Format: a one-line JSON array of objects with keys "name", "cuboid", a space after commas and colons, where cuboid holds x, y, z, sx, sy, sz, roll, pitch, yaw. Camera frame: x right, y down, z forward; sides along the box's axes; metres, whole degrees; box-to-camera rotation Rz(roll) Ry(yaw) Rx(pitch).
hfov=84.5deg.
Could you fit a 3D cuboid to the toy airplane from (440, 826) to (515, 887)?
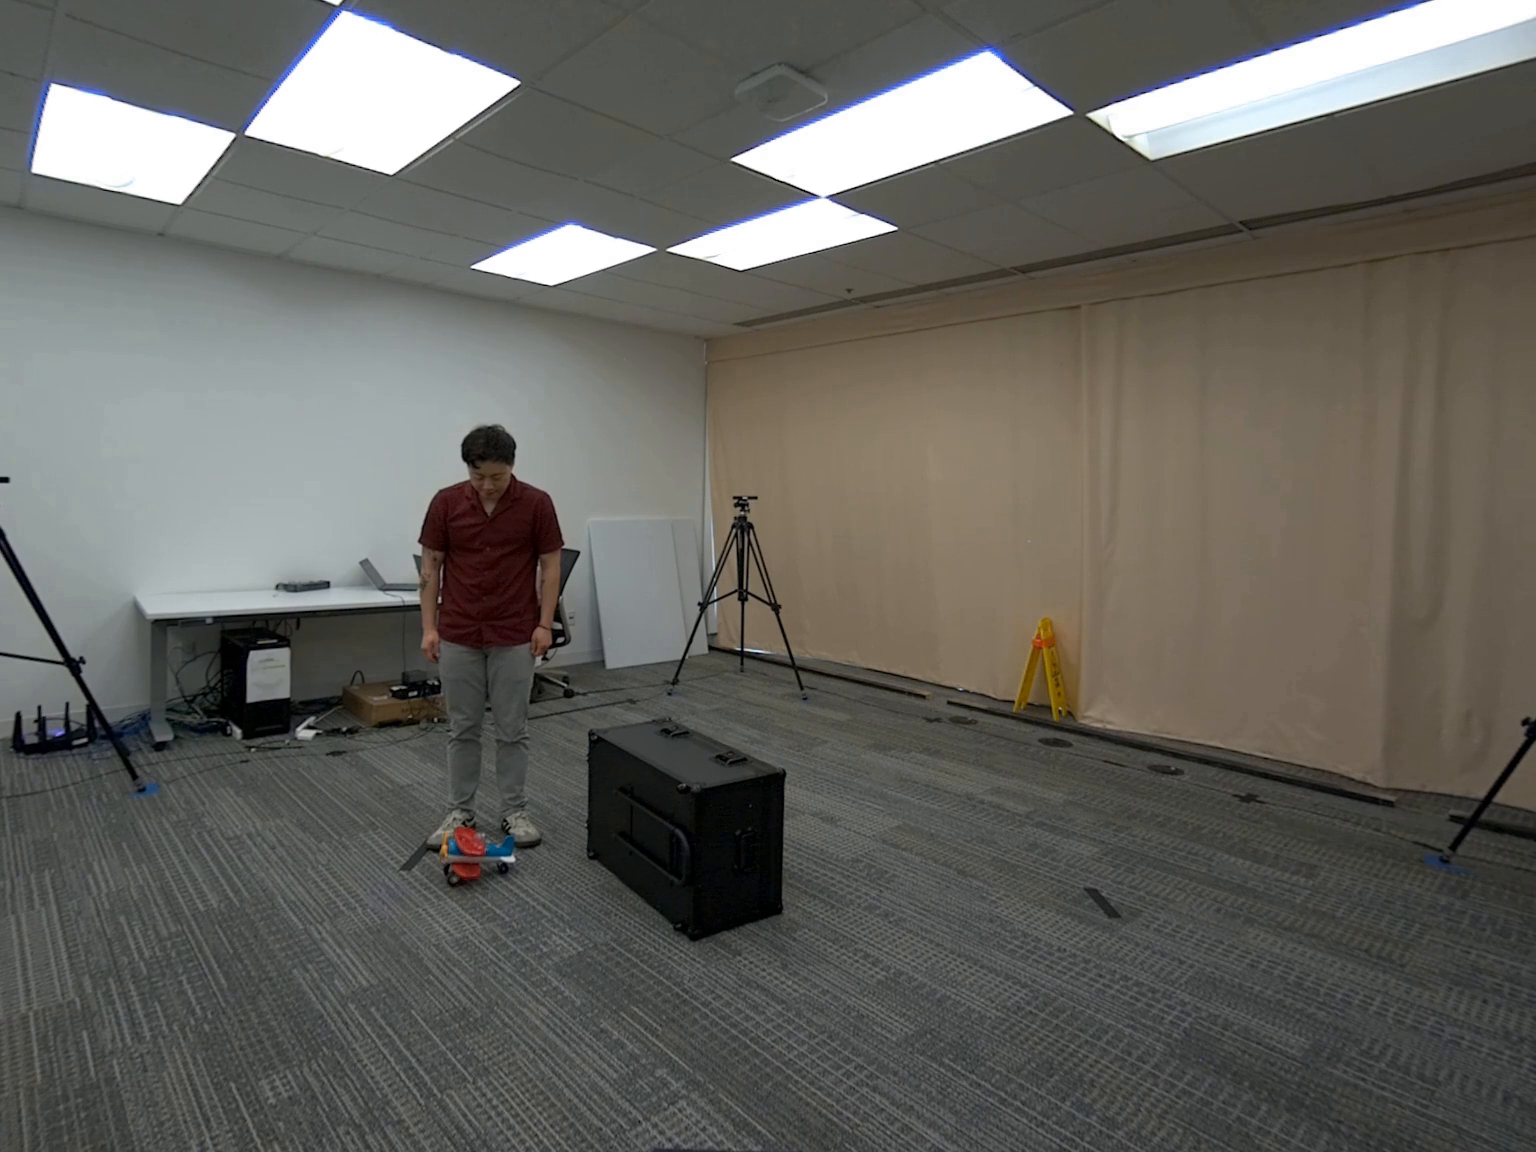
[{"name": "toy airplane", "cuboid": [-1.062, 1.007, 3.058, 0.257, 0.156, 0.254, 4, 7, 33]}]
